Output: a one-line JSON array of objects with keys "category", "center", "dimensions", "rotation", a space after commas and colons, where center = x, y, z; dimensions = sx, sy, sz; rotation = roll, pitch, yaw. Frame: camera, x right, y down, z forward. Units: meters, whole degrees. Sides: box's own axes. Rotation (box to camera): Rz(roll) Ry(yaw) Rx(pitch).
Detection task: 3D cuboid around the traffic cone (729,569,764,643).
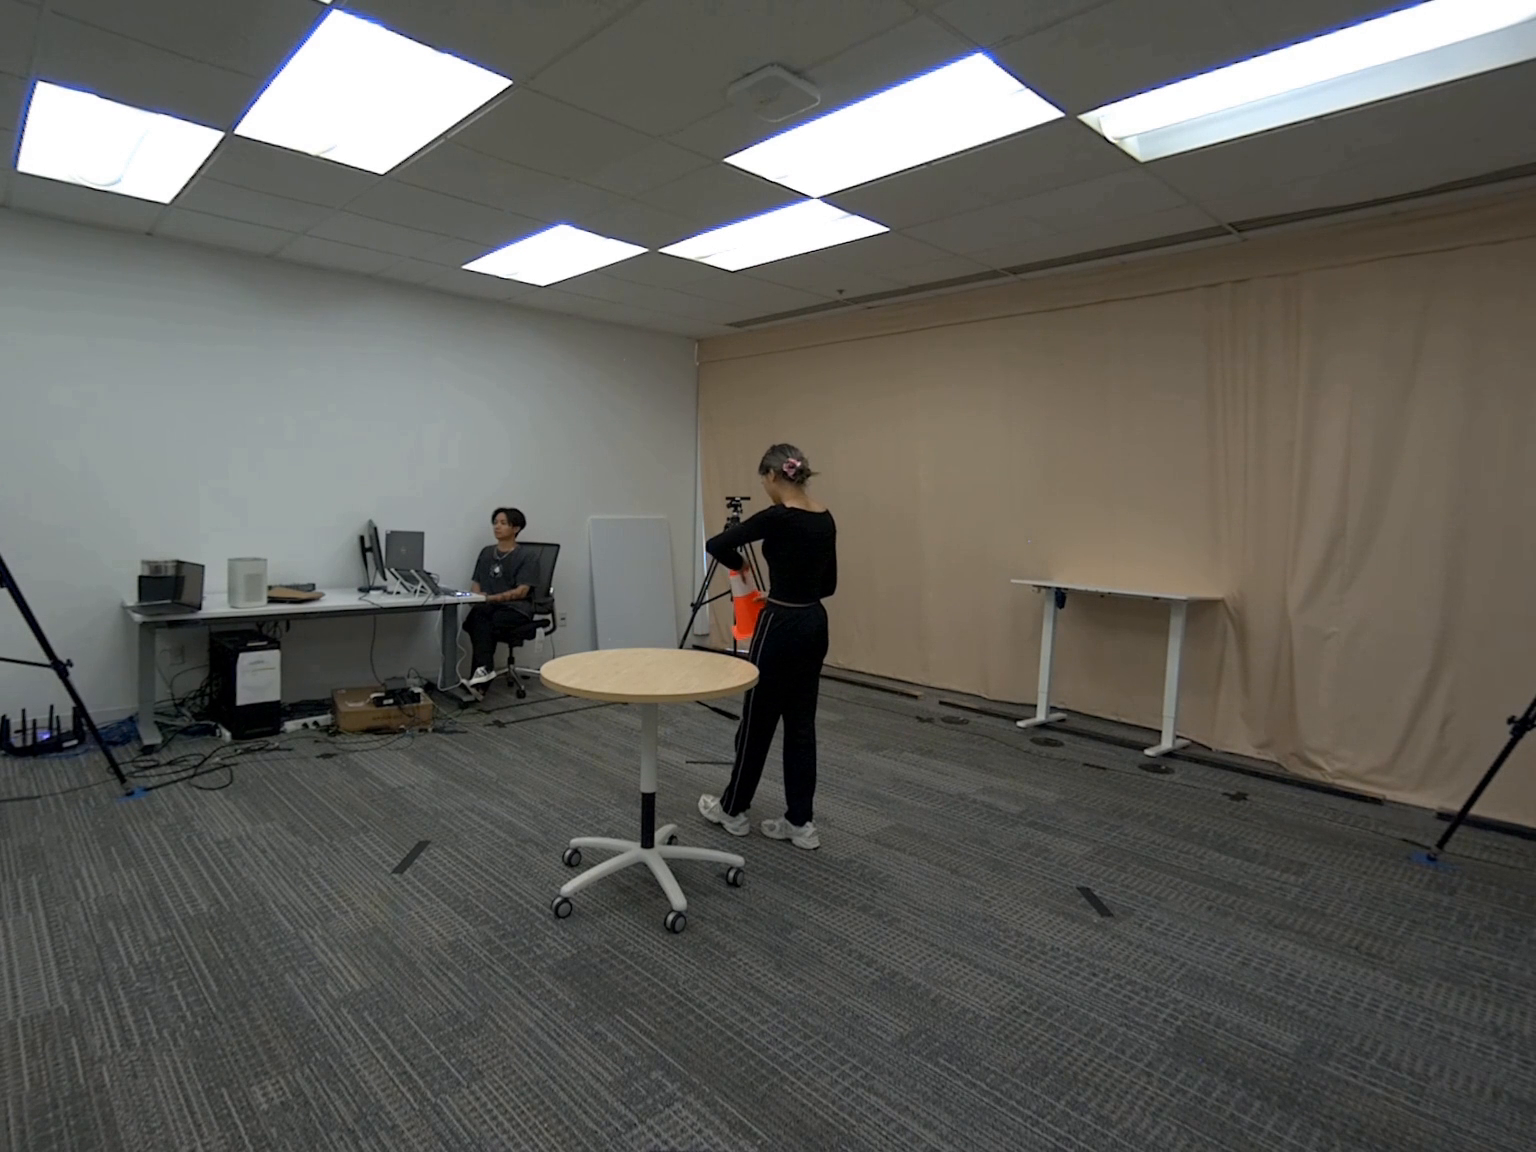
[{"category": "traffic cone", "center": [-0.131, 0.055, 3.661], "dimensions": [0.203, 0.379, 0.207], "rotation": [-15, 13, -1]}]
